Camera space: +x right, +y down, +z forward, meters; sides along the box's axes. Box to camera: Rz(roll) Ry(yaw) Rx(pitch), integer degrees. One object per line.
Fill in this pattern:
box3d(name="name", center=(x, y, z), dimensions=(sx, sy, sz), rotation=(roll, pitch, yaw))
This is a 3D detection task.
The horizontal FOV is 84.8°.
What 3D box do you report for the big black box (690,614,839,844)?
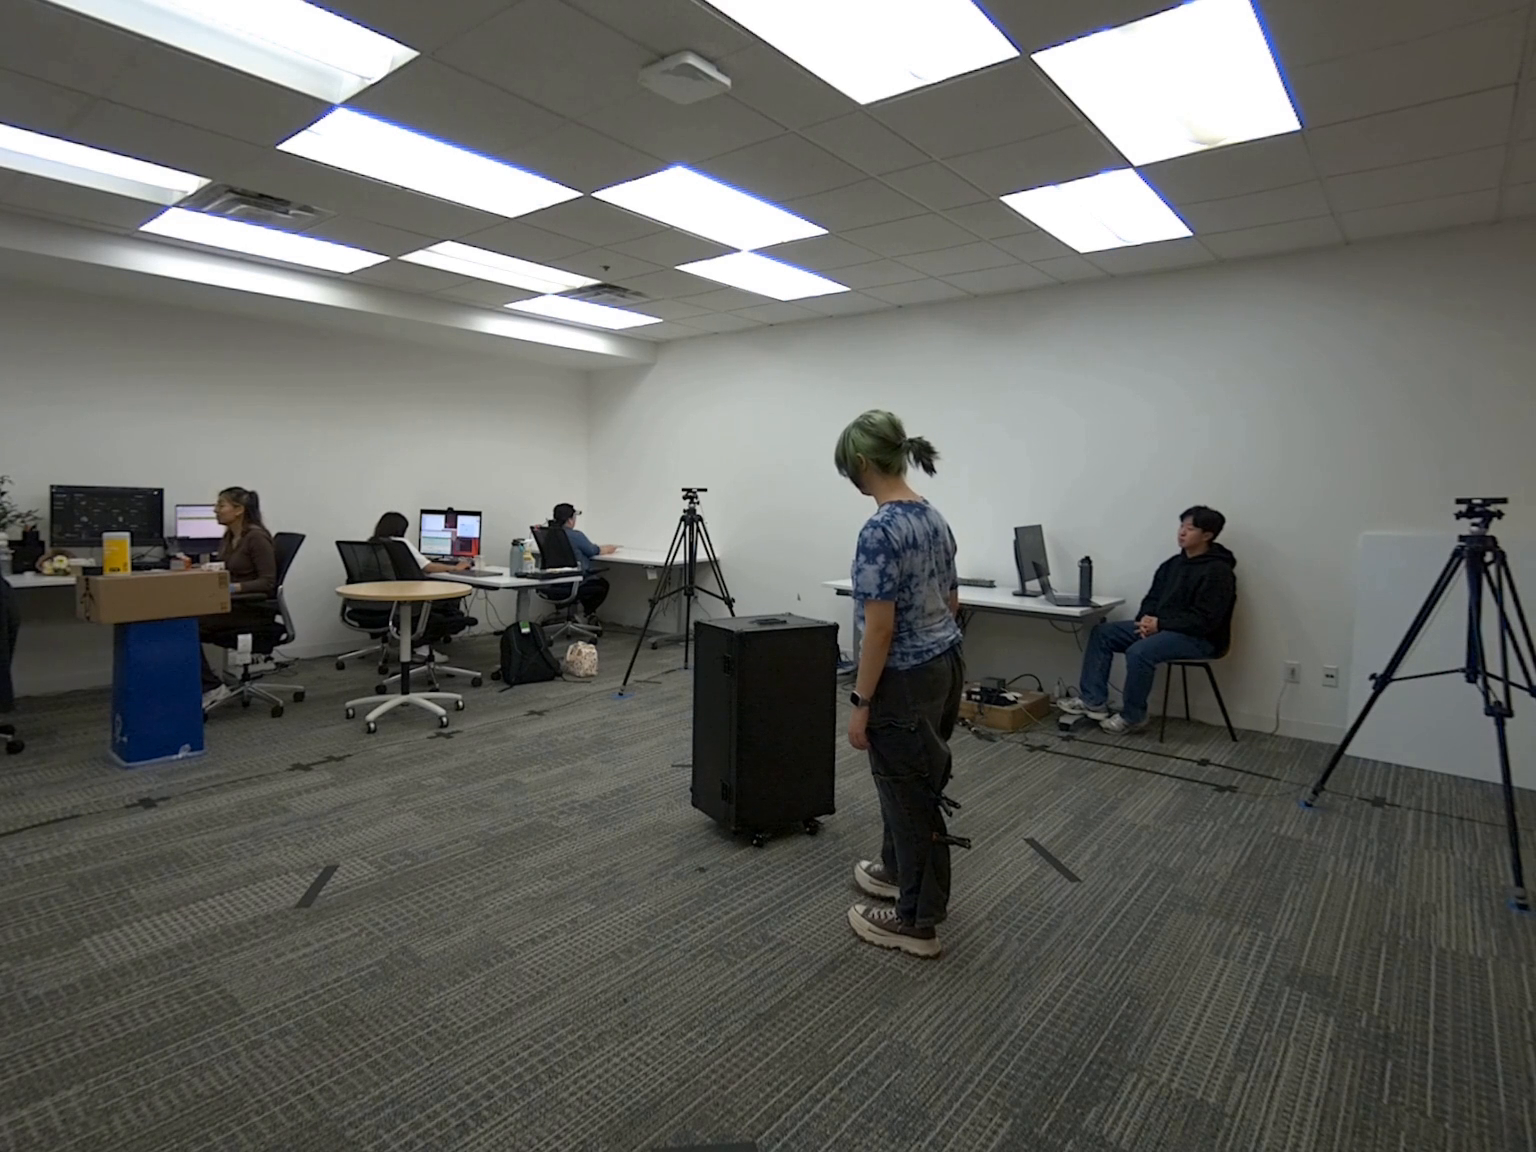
box3d(name="big black box", center=(-0.038, 0.609, 3.512), dimensions=(0.507, 0.860, 0.408), rotation=(-1, 2, -32))
